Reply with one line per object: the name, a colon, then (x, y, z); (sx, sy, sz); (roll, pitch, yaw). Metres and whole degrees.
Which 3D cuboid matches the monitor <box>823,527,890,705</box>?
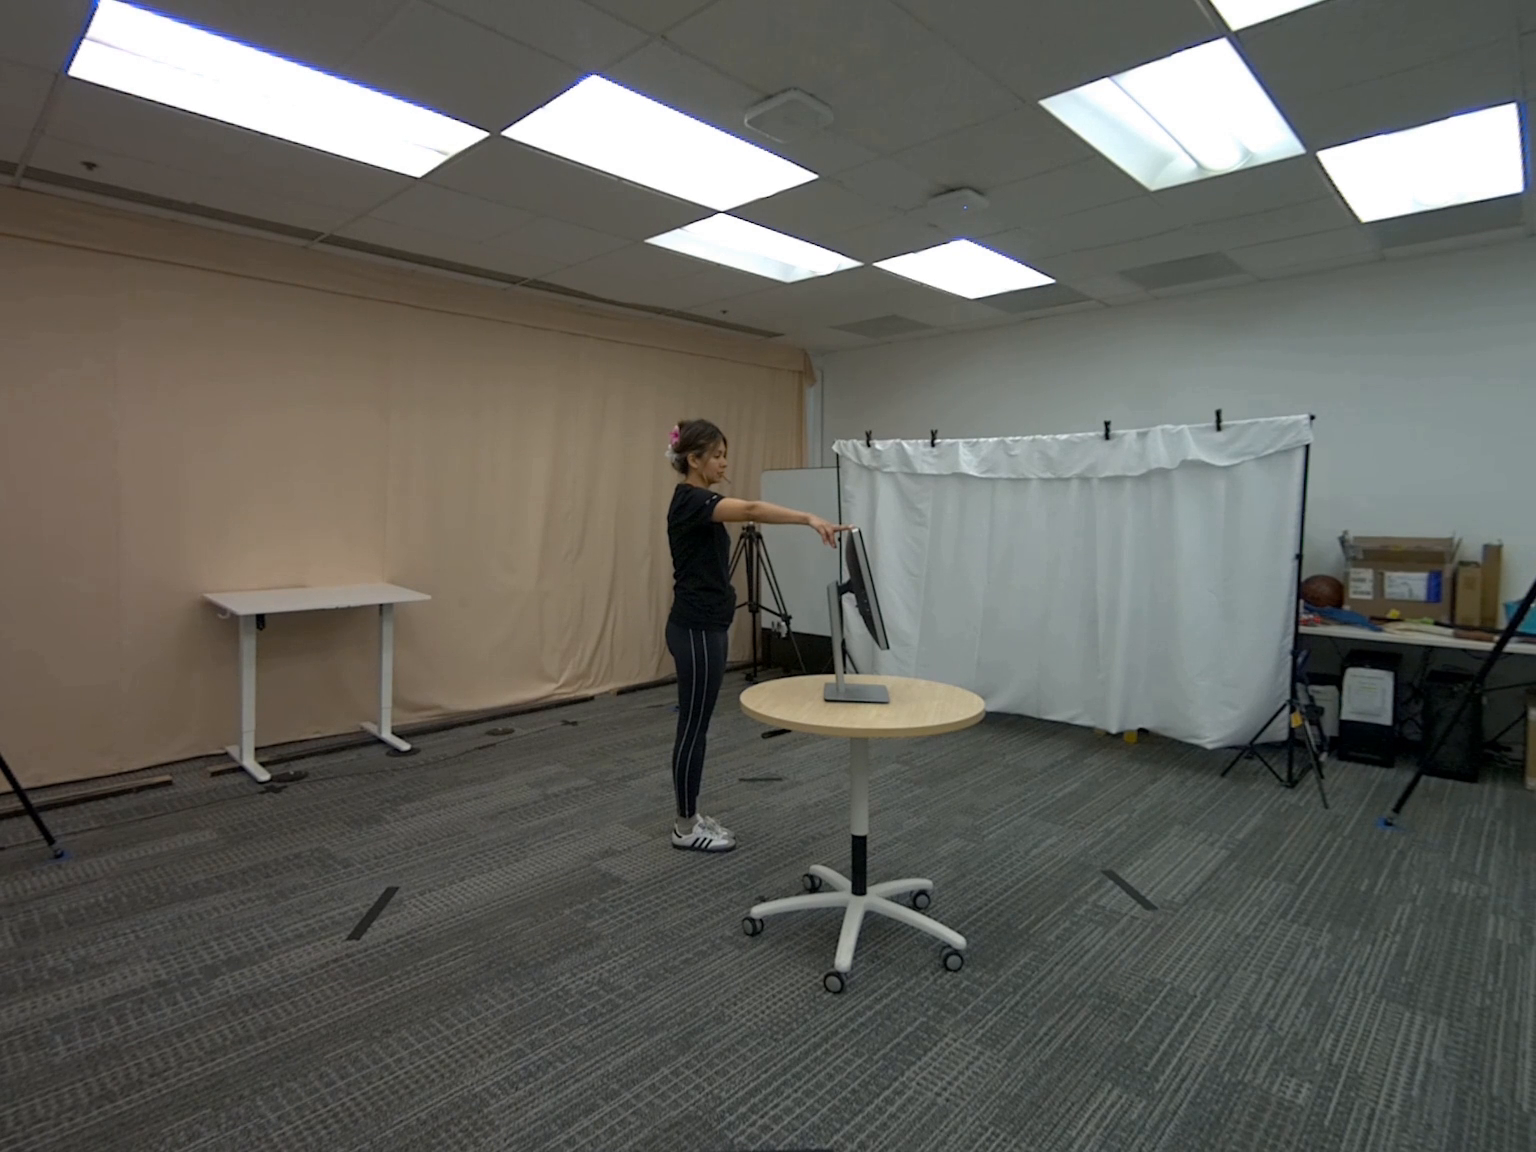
monitor: (0.284, 0.124, 2.723); (0.188, 0.522, 0.537); (0, 3, 4)
